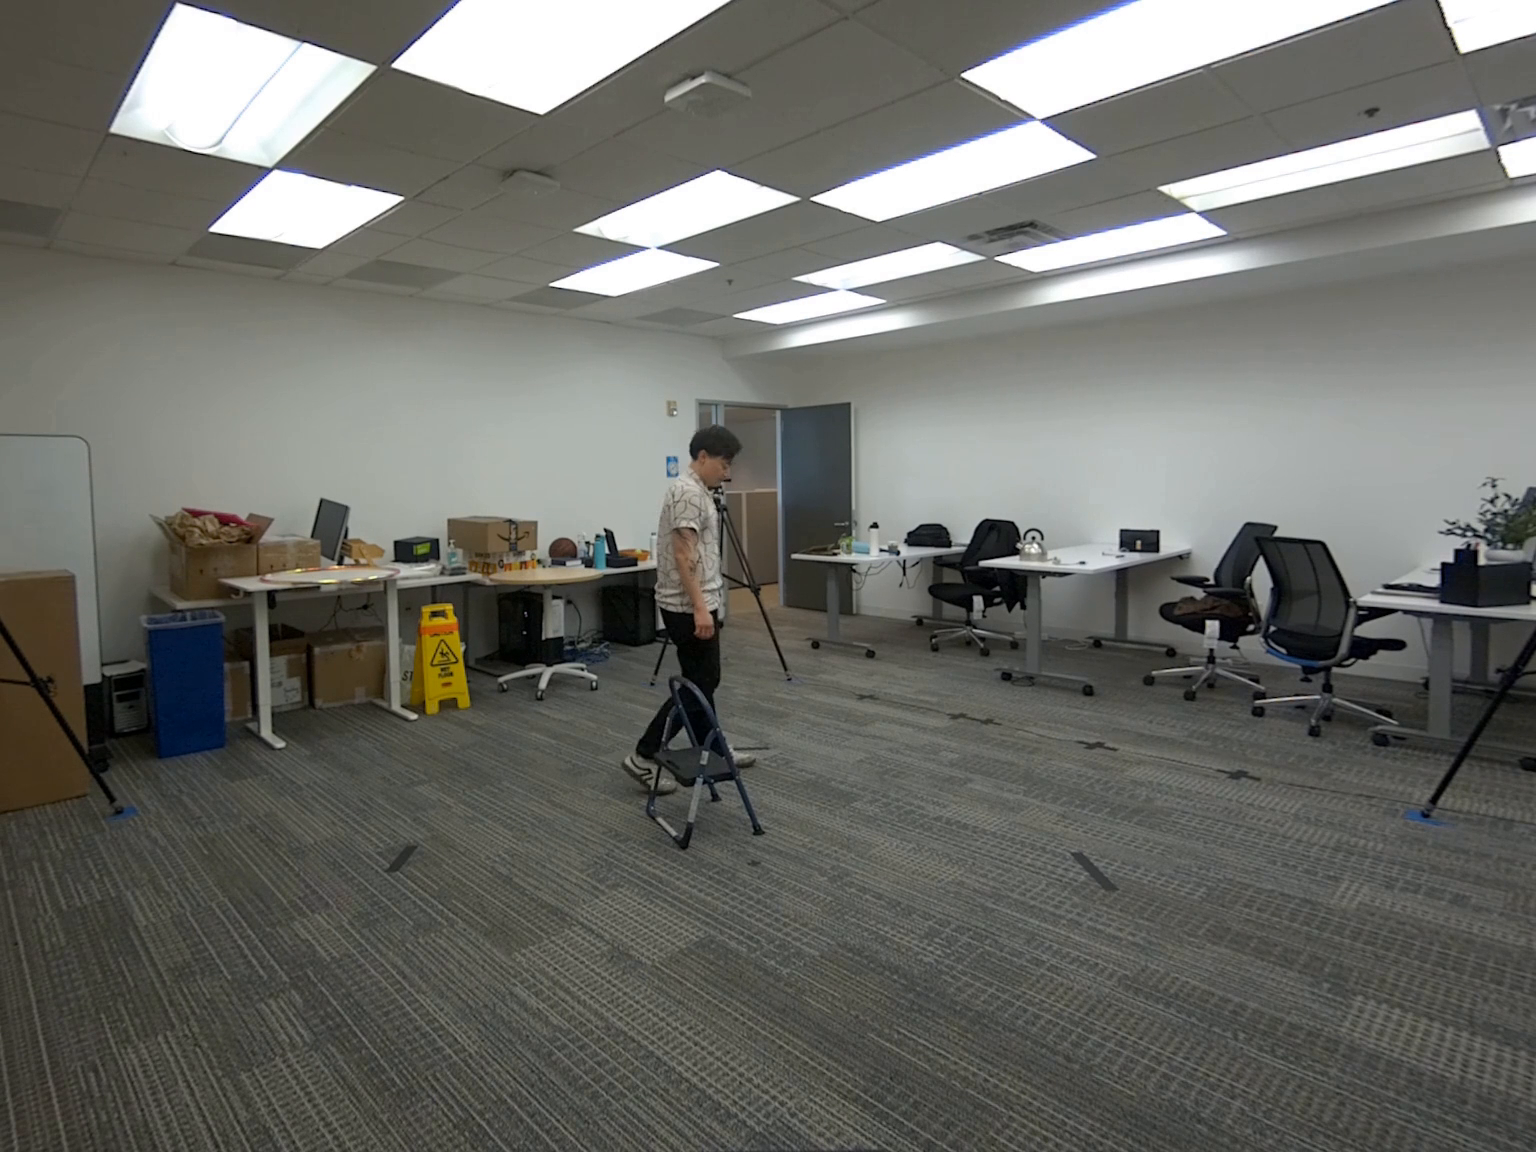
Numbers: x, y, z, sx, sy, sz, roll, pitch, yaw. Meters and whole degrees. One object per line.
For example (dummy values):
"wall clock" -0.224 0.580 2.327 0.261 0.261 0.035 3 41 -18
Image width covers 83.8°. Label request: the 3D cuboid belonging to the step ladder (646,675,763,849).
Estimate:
"step ladder" -0.272 0.706 3.463 0.341 0.604 0.442 -3 4 -28
